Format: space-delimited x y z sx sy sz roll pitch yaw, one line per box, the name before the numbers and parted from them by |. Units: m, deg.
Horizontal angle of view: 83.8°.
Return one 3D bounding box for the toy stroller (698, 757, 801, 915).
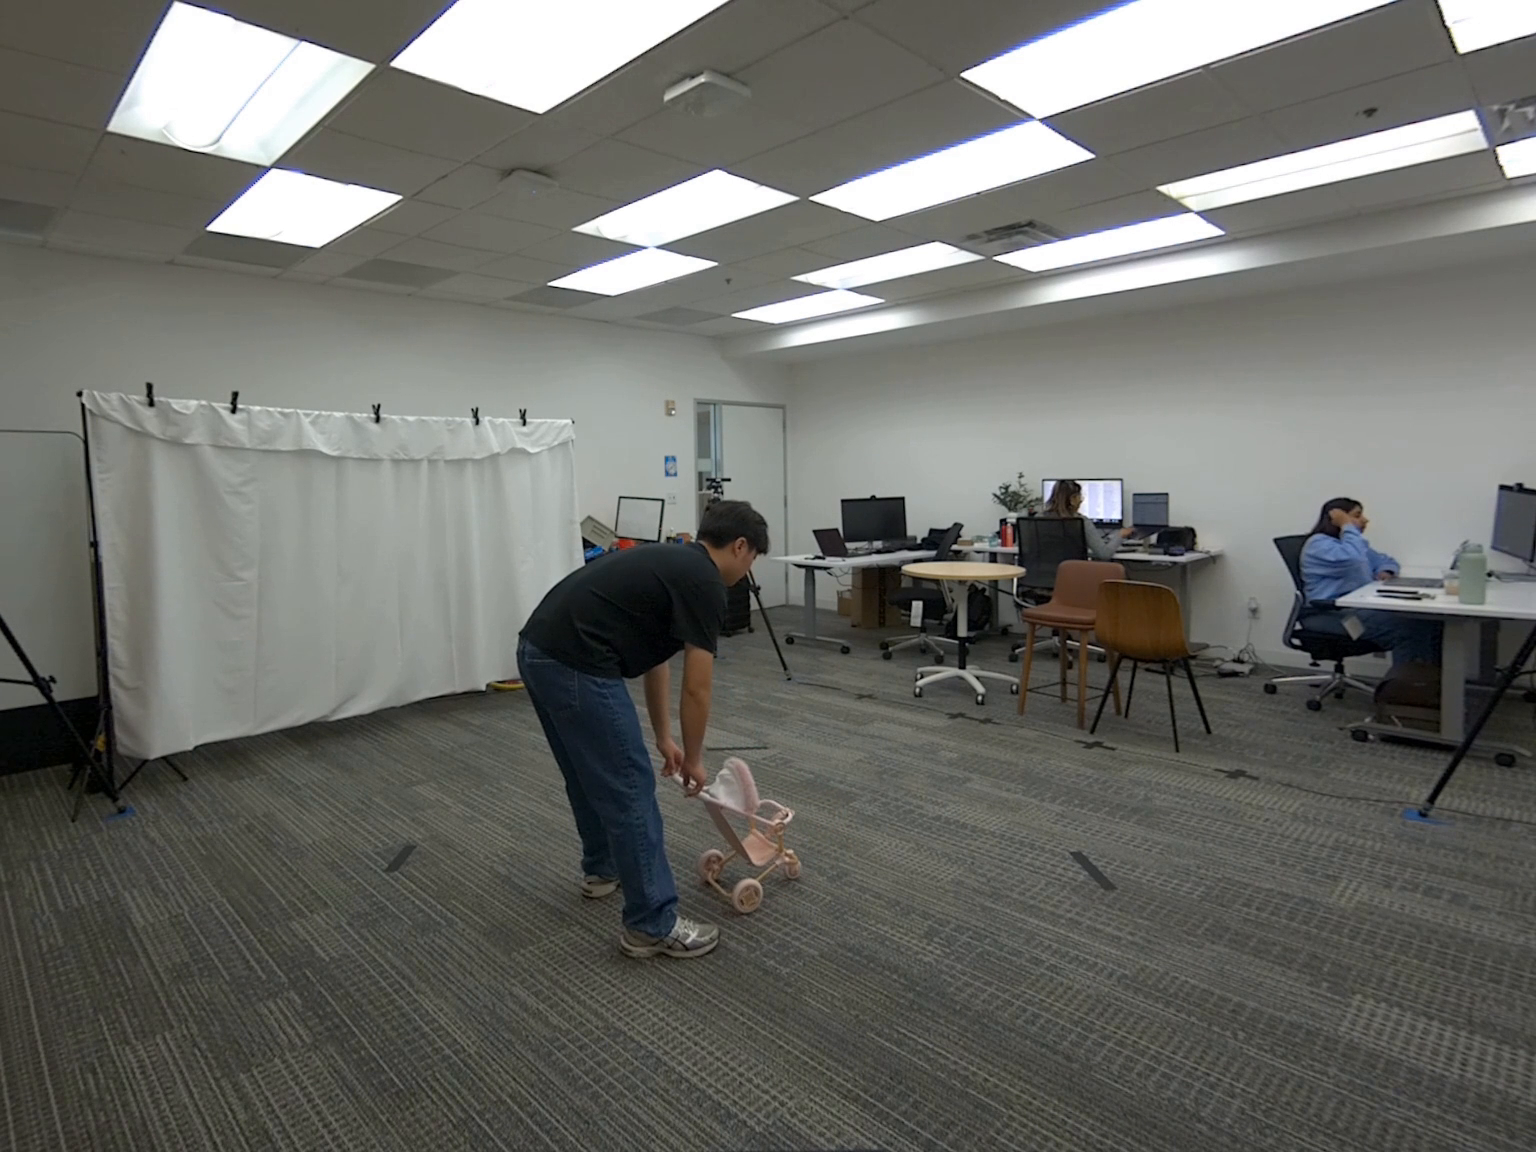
toy stroller | -0.078 0.846 2.876 0.337 0.528 0.288 -21 12 -22
